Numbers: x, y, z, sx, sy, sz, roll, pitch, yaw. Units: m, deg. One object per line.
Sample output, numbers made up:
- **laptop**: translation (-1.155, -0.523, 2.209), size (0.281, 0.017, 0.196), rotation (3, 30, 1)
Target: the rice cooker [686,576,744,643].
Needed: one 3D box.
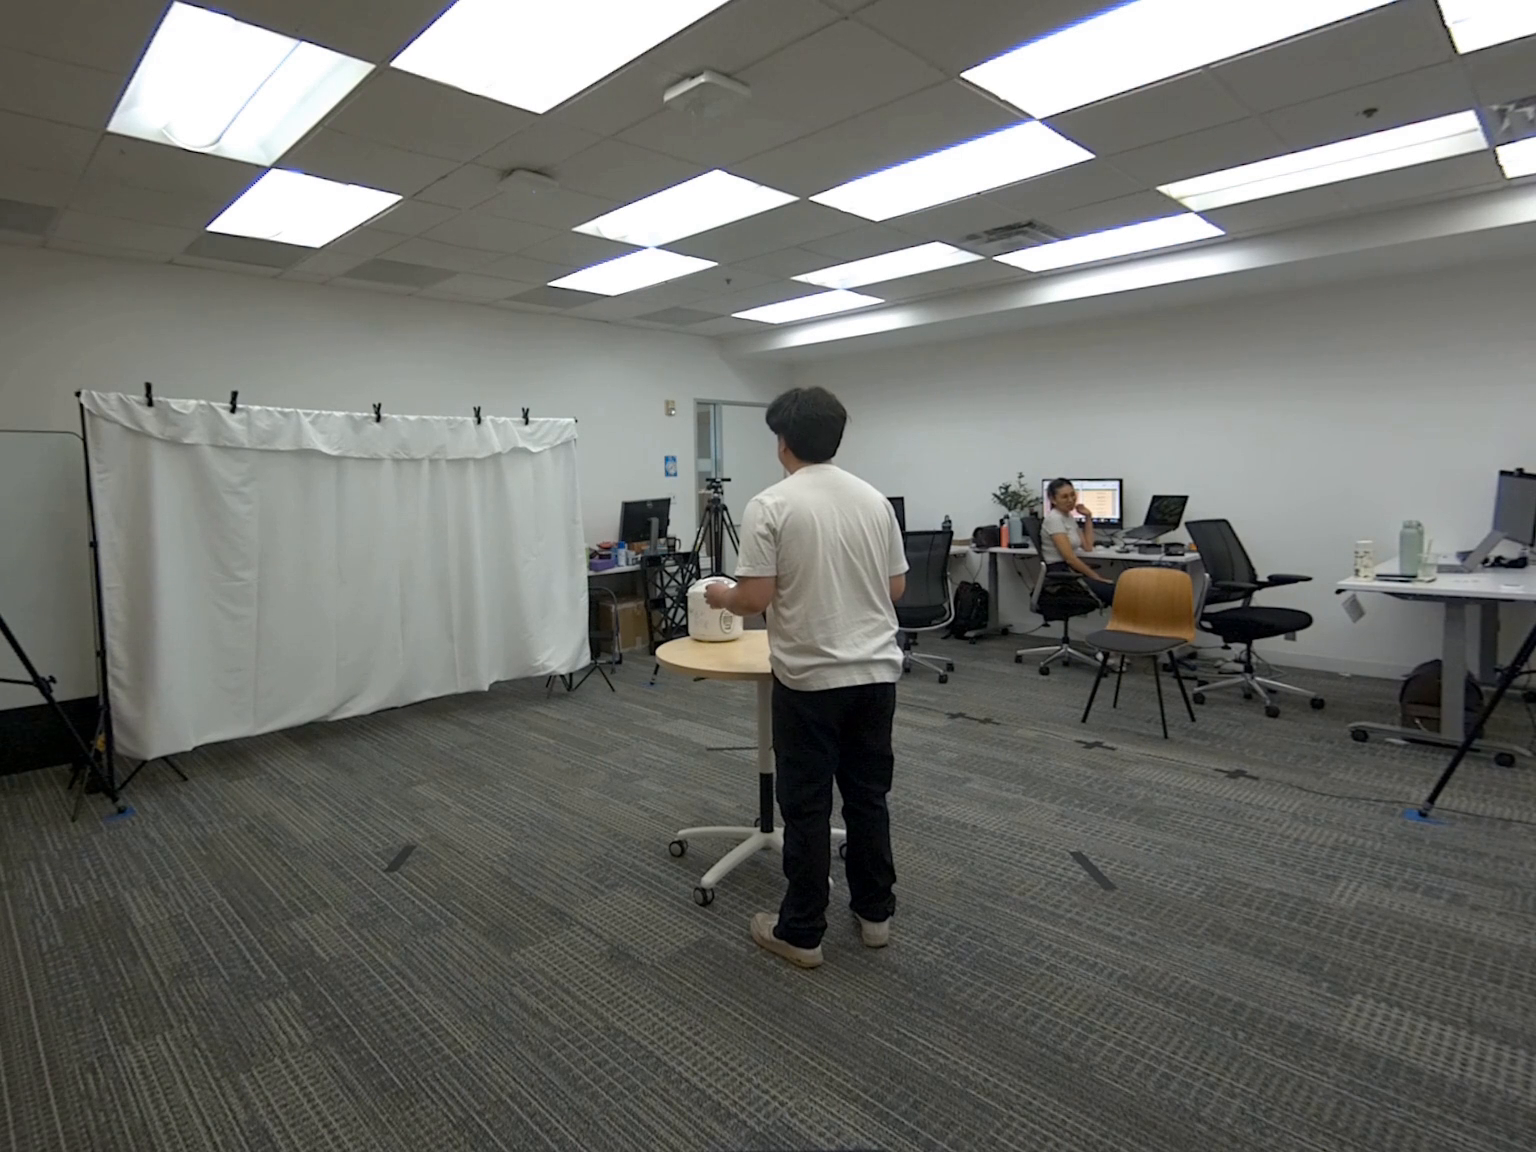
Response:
- **rice cooker**: translation (-0.193, 0.120, 3.217), size (0.216, 0.232, 0.223), rotation (-4, 4, -26)
